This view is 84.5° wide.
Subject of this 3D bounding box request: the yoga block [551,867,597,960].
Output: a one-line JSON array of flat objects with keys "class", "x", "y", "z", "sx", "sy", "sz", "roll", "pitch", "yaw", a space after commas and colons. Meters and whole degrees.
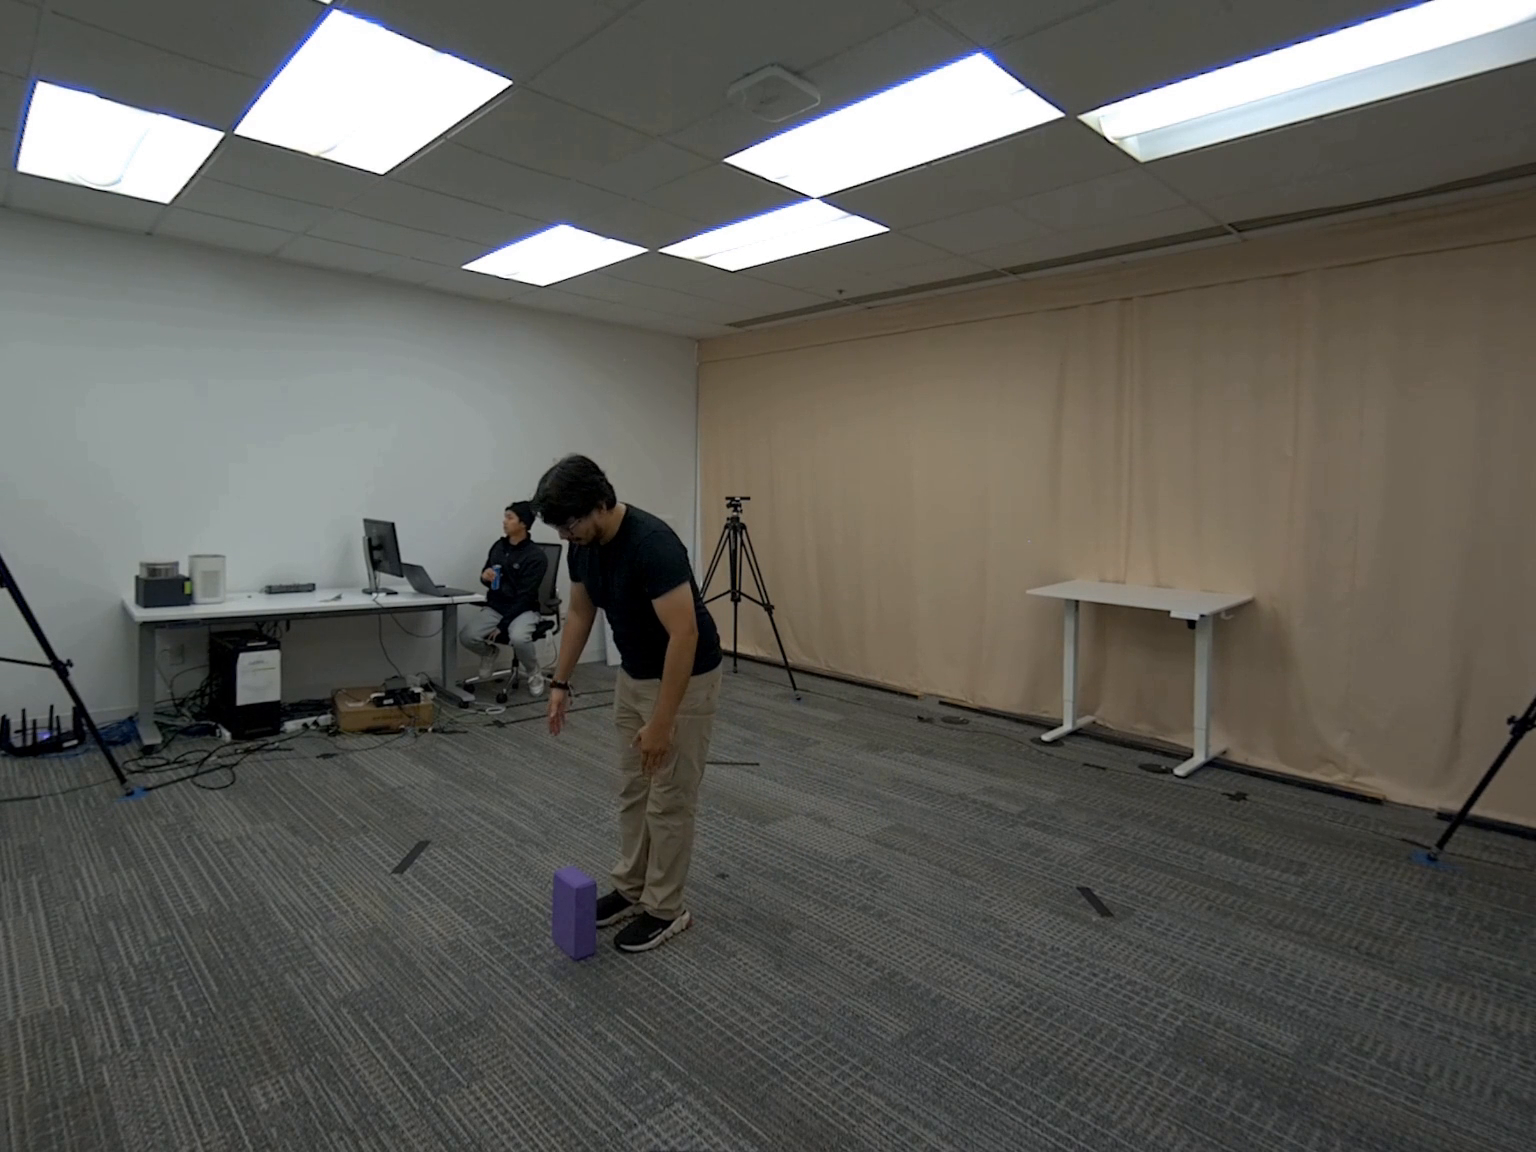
[{"class": "yoga block", "x": -0.595, "y": 1.026, "z": 2.575, "sx": 0.074, "sy": 0.229, "sz": 0.153, "roll": 1, "pitch": 4, "yaw": -42}]
